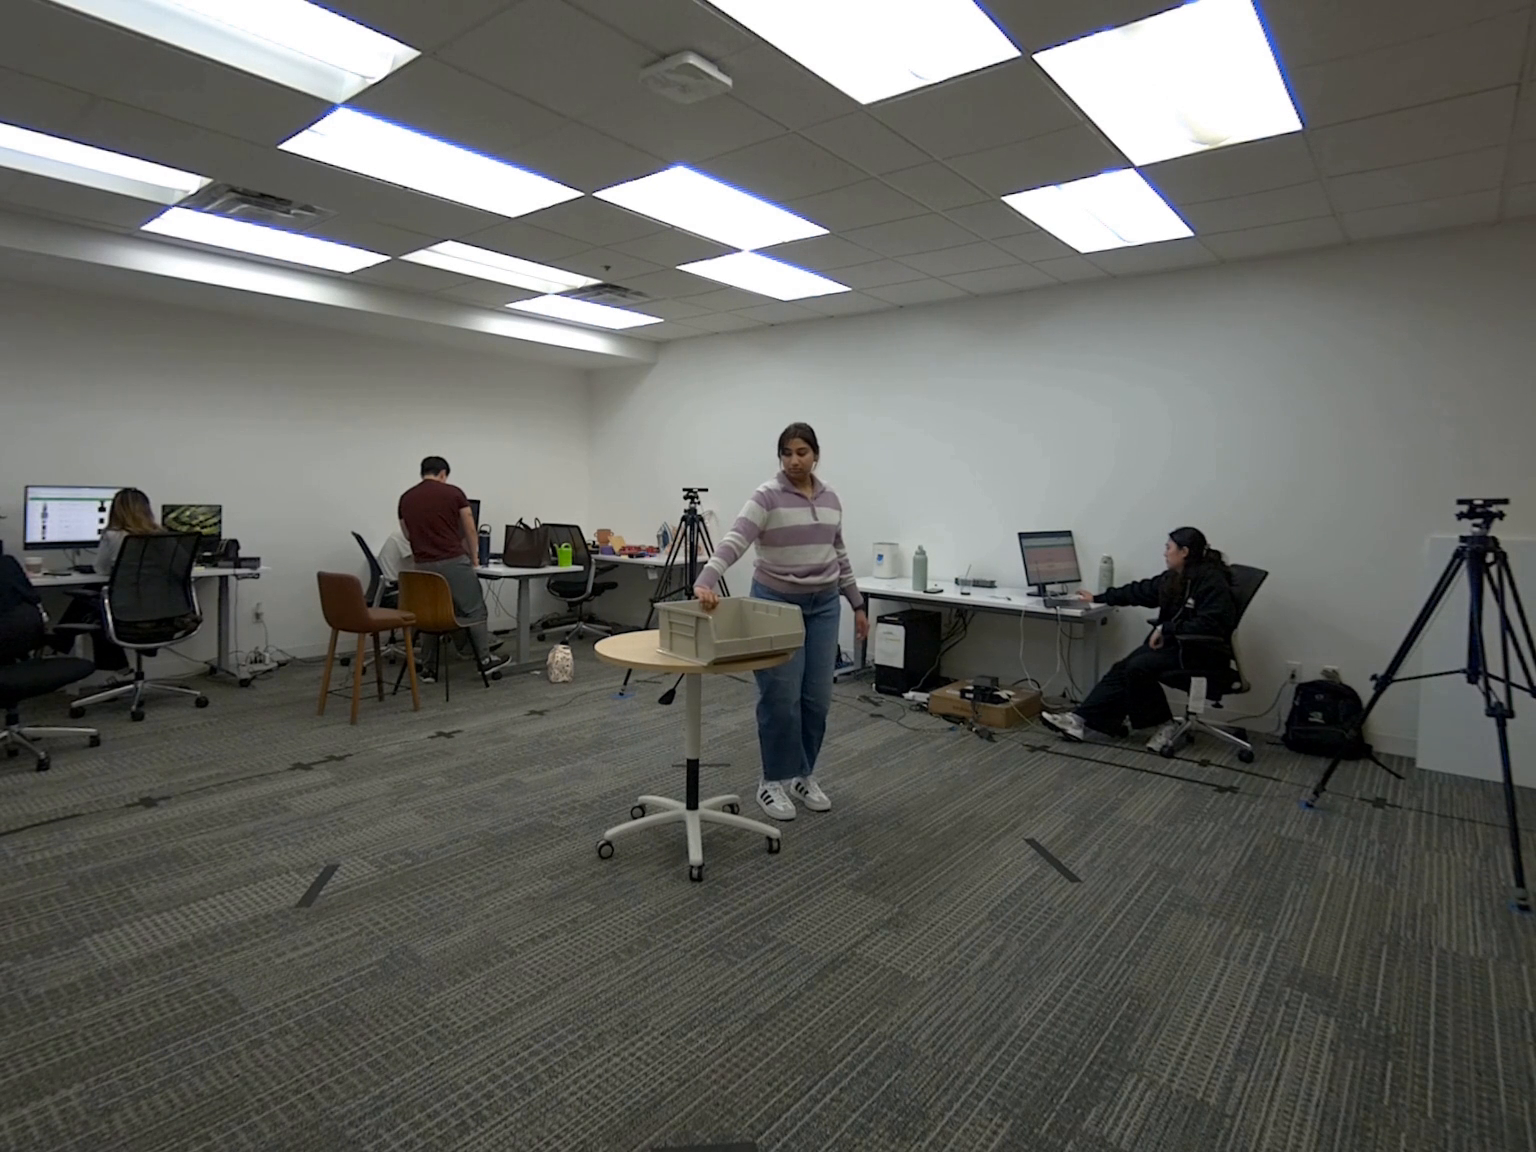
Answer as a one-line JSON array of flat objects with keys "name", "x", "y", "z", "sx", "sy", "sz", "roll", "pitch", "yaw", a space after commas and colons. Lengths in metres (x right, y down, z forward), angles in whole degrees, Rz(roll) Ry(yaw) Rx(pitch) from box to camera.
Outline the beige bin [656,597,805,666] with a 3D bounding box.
[{"name": "beige bin", "x": -0.154, "y": 0.192, "z": 3.132, "sx": 0.410, "sy": 0.188, "sz": 0.389, "roll": -4, "pitch": 4, "yaw": -38}]
